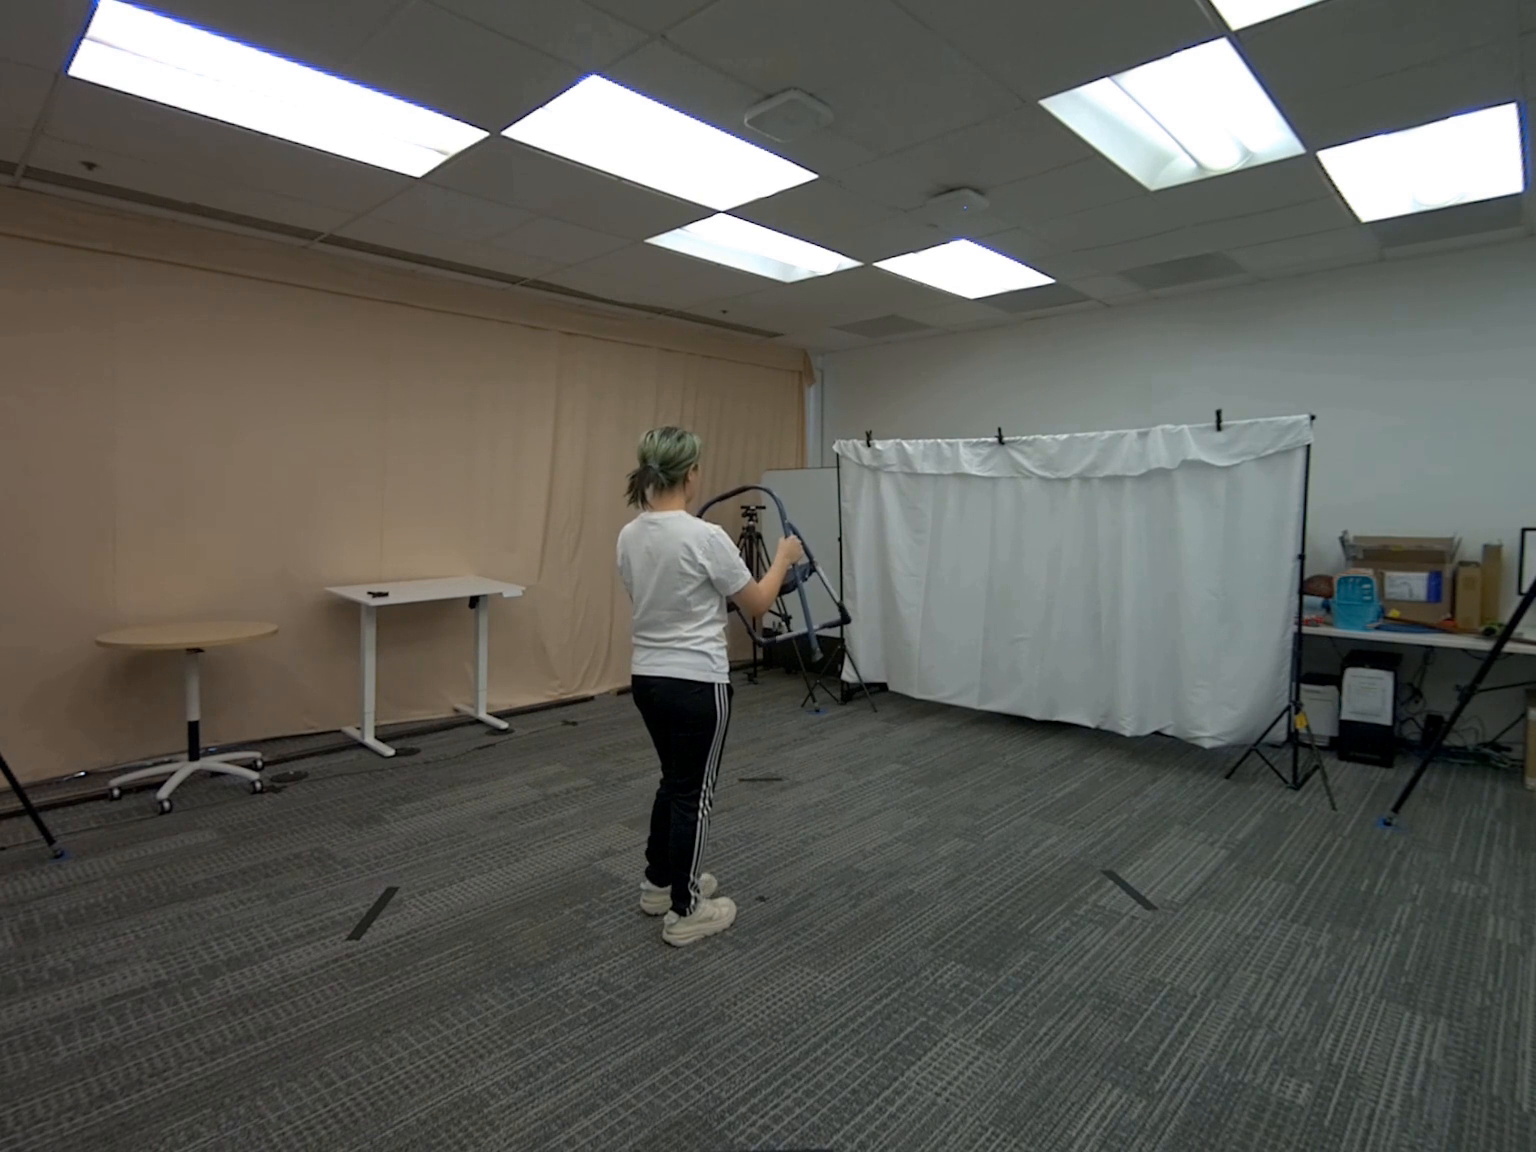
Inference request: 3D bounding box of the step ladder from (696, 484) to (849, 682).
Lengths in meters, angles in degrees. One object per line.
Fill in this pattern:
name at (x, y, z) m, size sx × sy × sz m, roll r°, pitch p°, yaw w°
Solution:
step ladder at (-0.047, -0.005, 2.980) m, size 0.440 × 0.603 × 0.343 m, roll -20°, pitch 6°, yaw 31°
